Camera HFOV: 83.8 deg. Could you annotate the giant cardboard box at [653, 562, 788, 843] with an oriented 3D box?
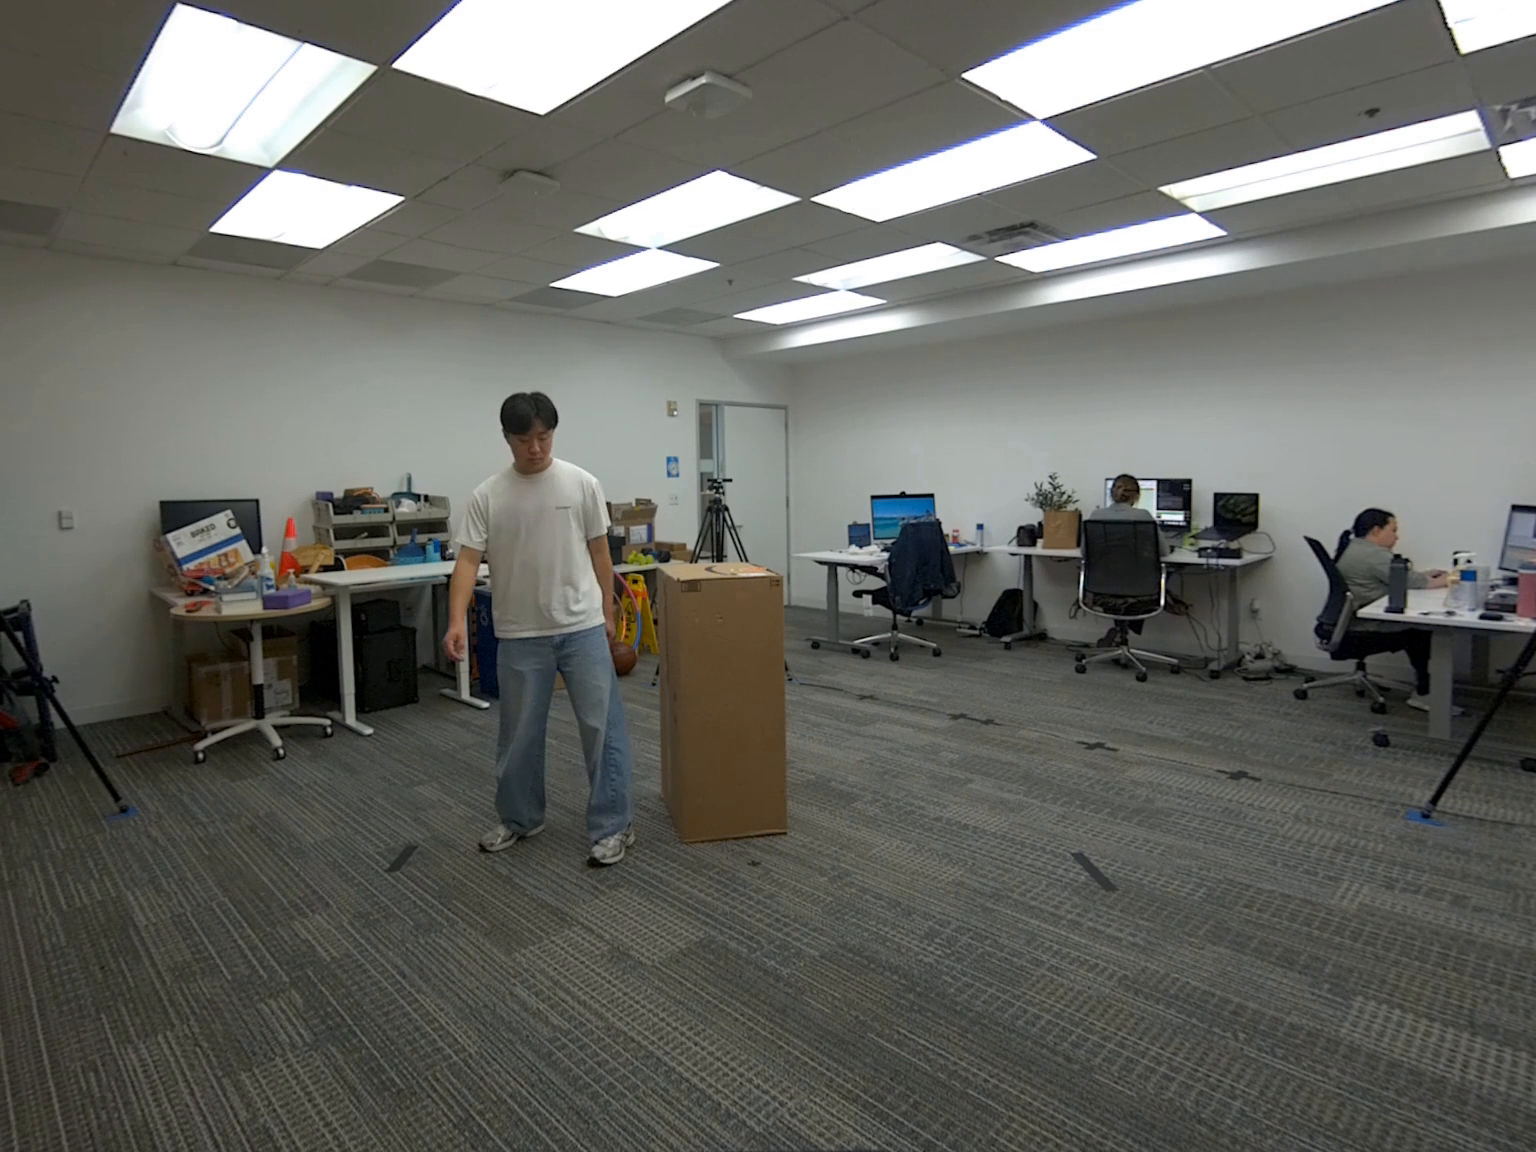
[{"bbox_3d":[-0.204,0.486,3.575,0.420,1.022,0.588,-2,4,-16],"label":"giant cardboard box"}]
